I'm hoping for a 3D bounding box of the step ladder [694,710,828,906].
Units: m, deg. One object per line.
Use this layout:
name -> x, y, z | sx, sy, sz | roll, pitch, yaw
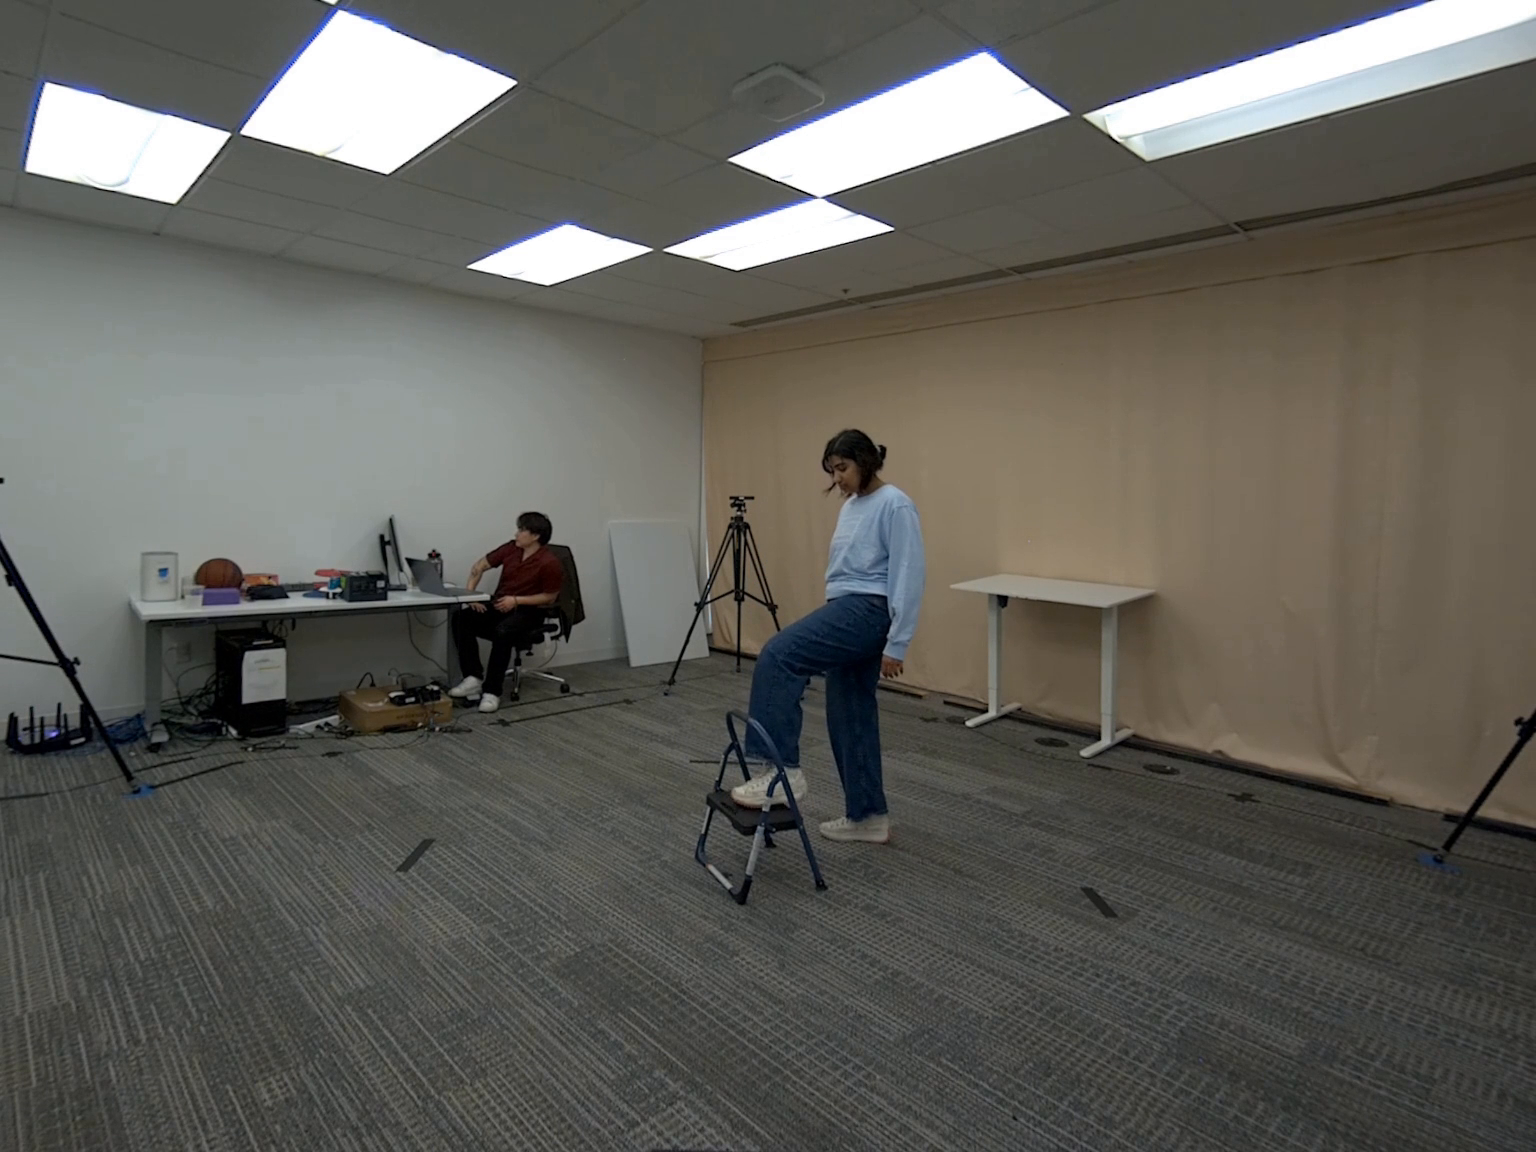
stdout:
step ladder -> -0.037, 0.804, 3.110 | 0.343, 0.604, 0.440 | 0, 4, -27
